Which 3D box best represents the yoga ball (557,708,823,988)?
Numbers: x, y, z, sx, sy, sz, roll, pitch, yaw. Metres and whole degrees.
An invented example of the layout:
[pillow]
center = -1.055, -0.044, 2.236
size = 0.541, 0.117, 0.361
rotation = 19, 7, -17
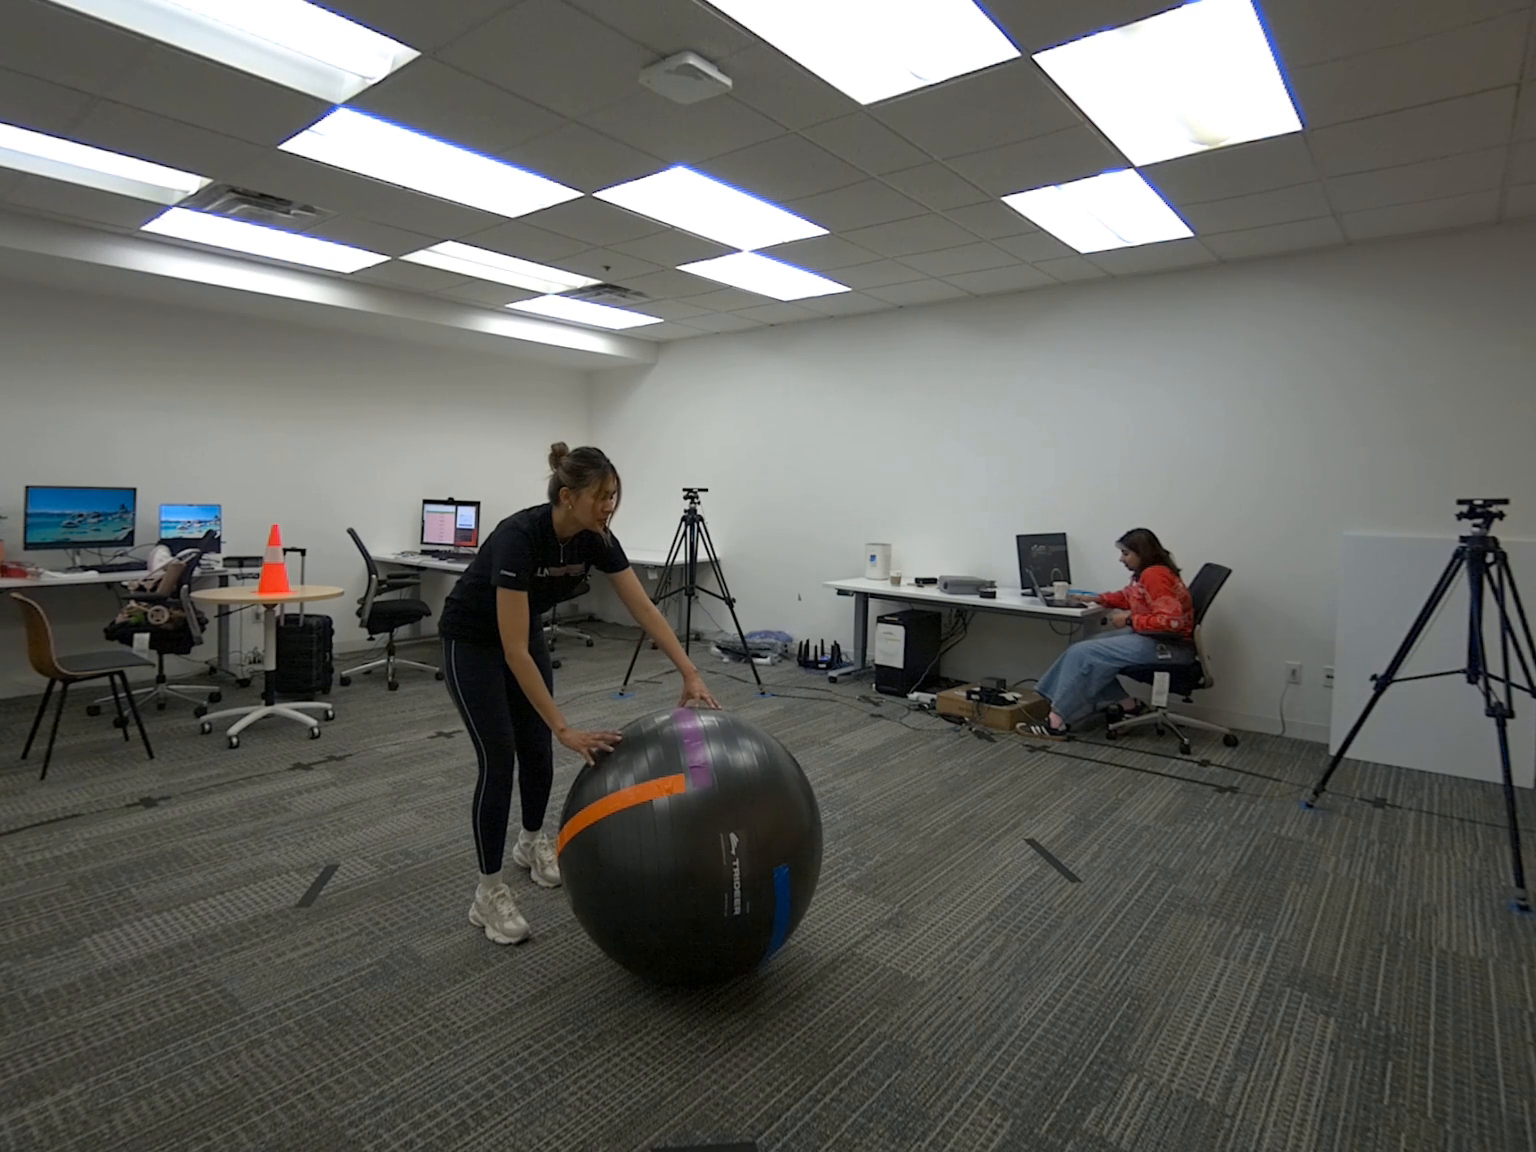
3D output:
[yoga ball]
center = -0.229, 0.763, 2.462
size = 0.757, 0.755, 0.762
rotation = 1, 4, -2
